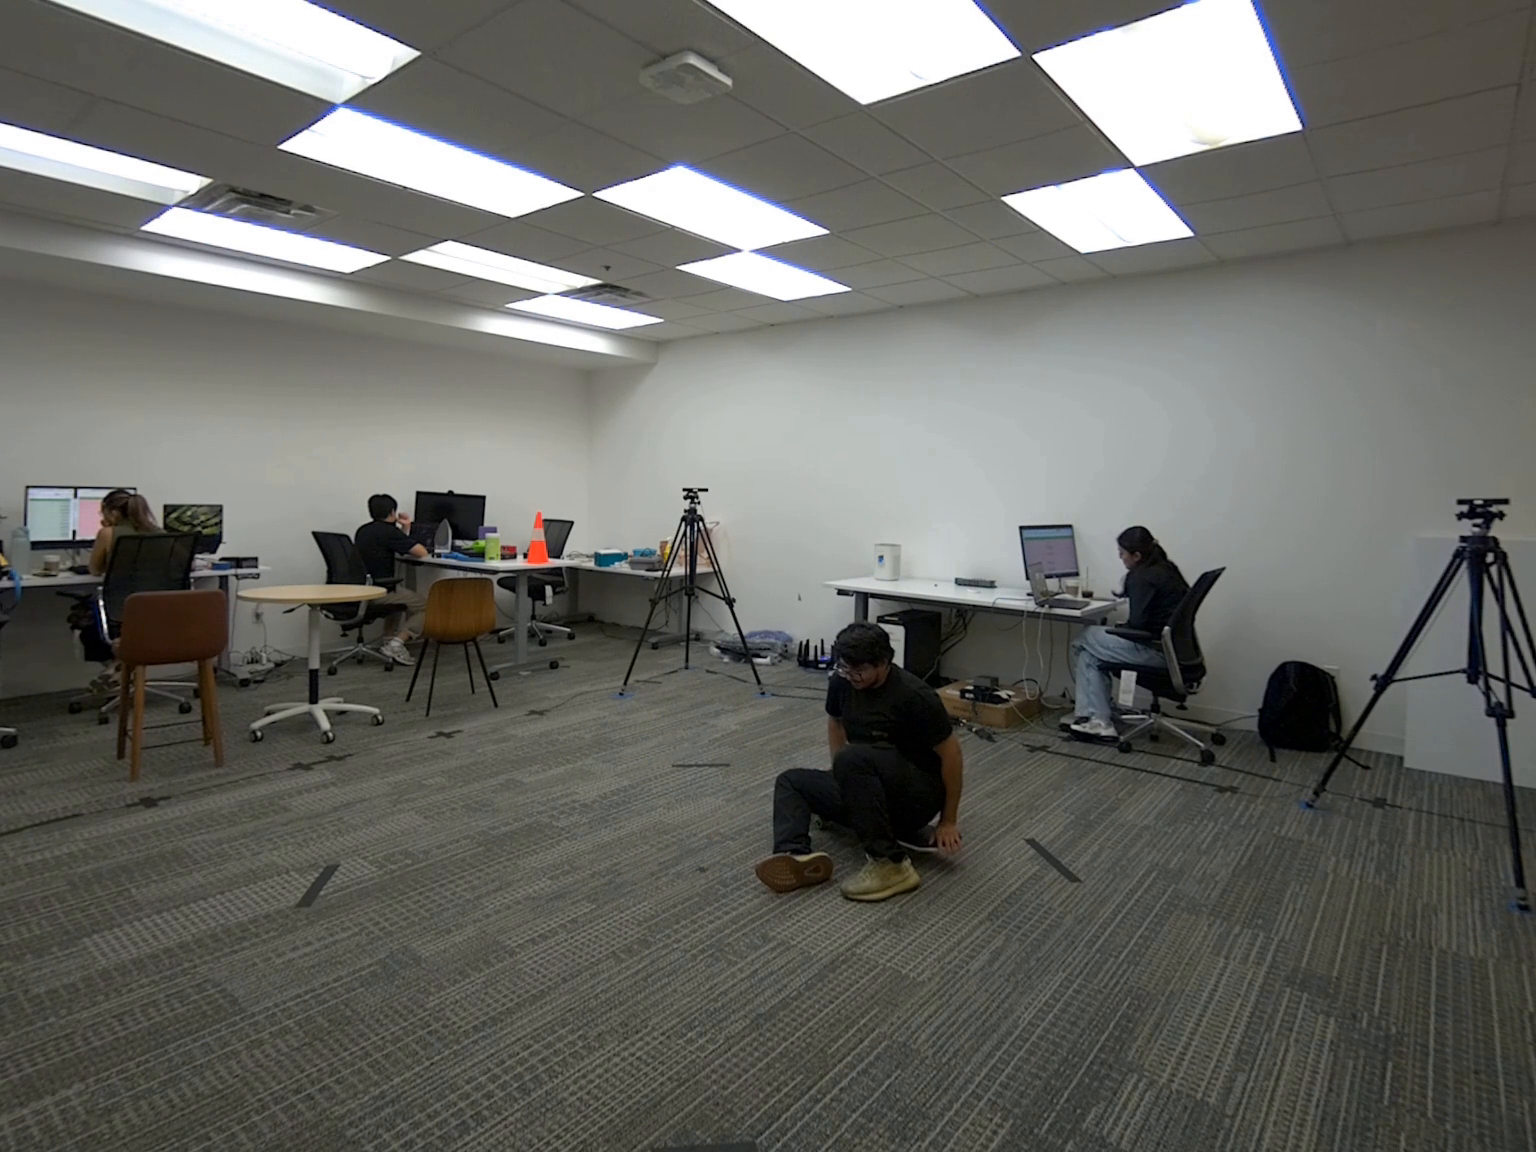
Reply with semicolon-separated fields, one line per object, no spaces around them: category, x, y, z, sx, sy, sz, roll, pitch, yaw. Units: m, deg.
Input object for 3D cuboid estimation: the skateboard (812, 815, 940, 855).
skateboard;0.405;0.993;3.416;0.813;0.109;0.188;7;13;44
